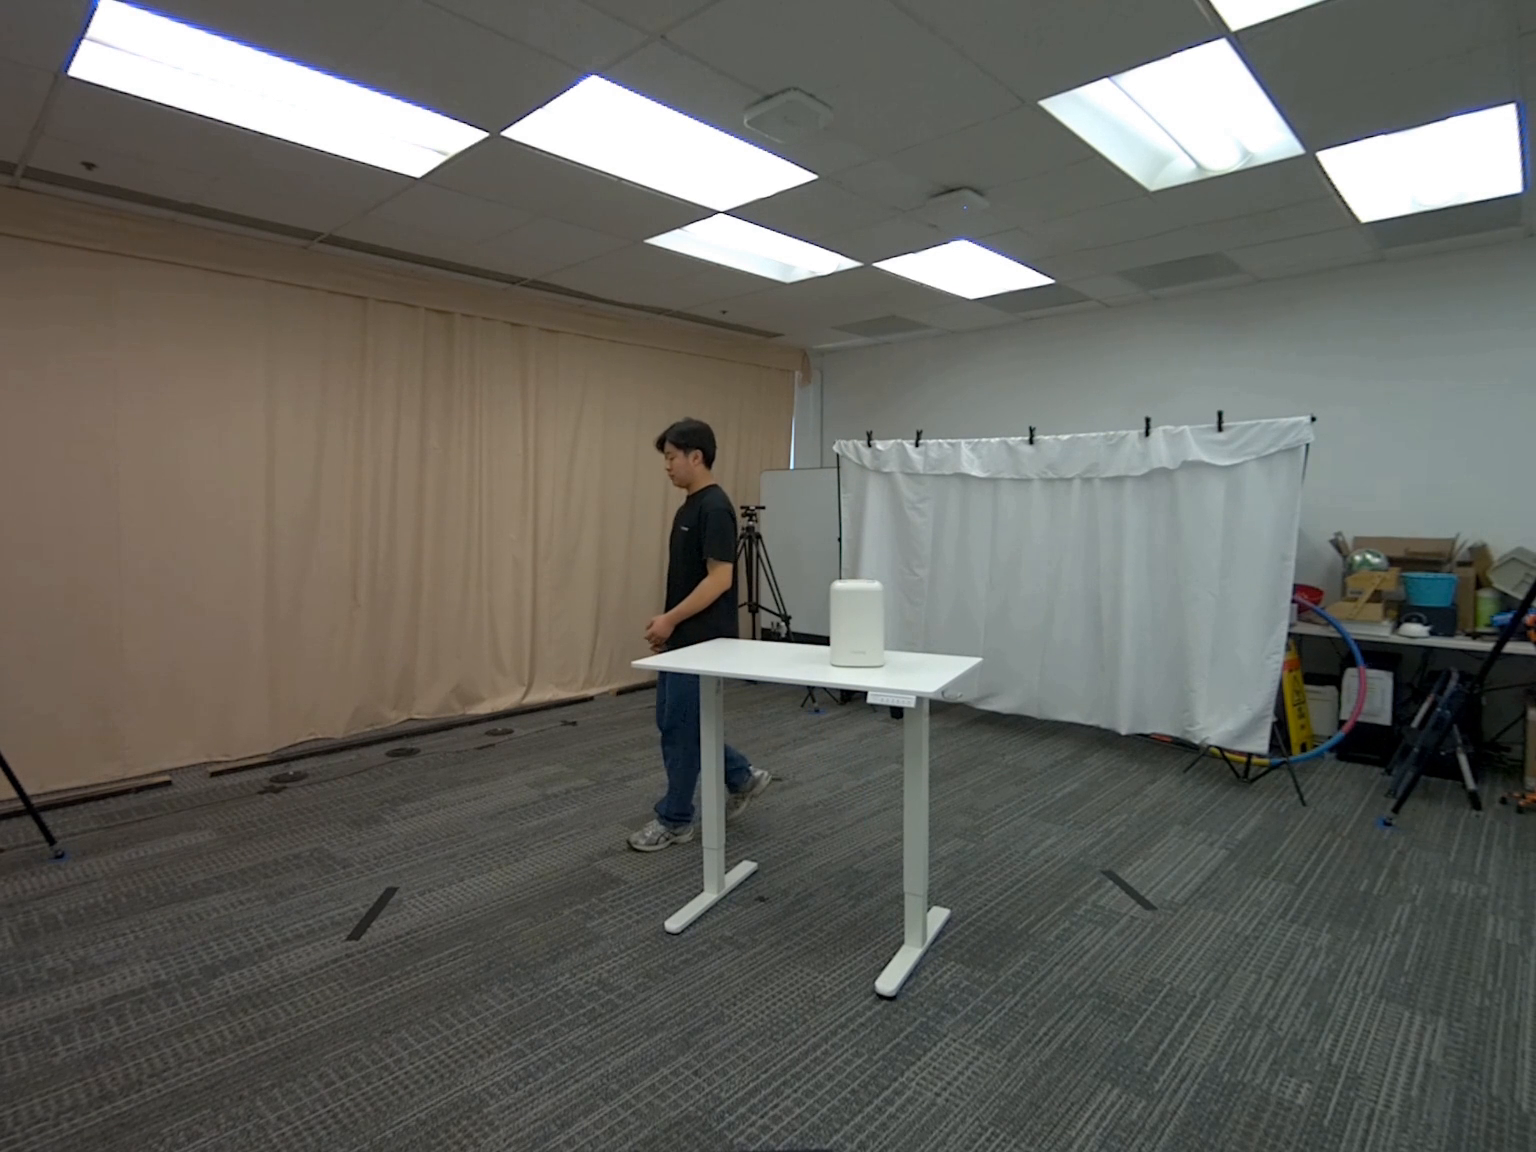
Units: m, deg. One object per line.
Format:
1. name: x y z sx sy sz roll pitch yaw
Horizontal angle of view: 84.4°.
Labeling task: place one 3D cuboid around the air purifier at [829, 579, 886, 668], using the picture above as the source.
1. air purifier: 0.295 0.149 2.704 0.173 0.265 0.170 0 2 7
